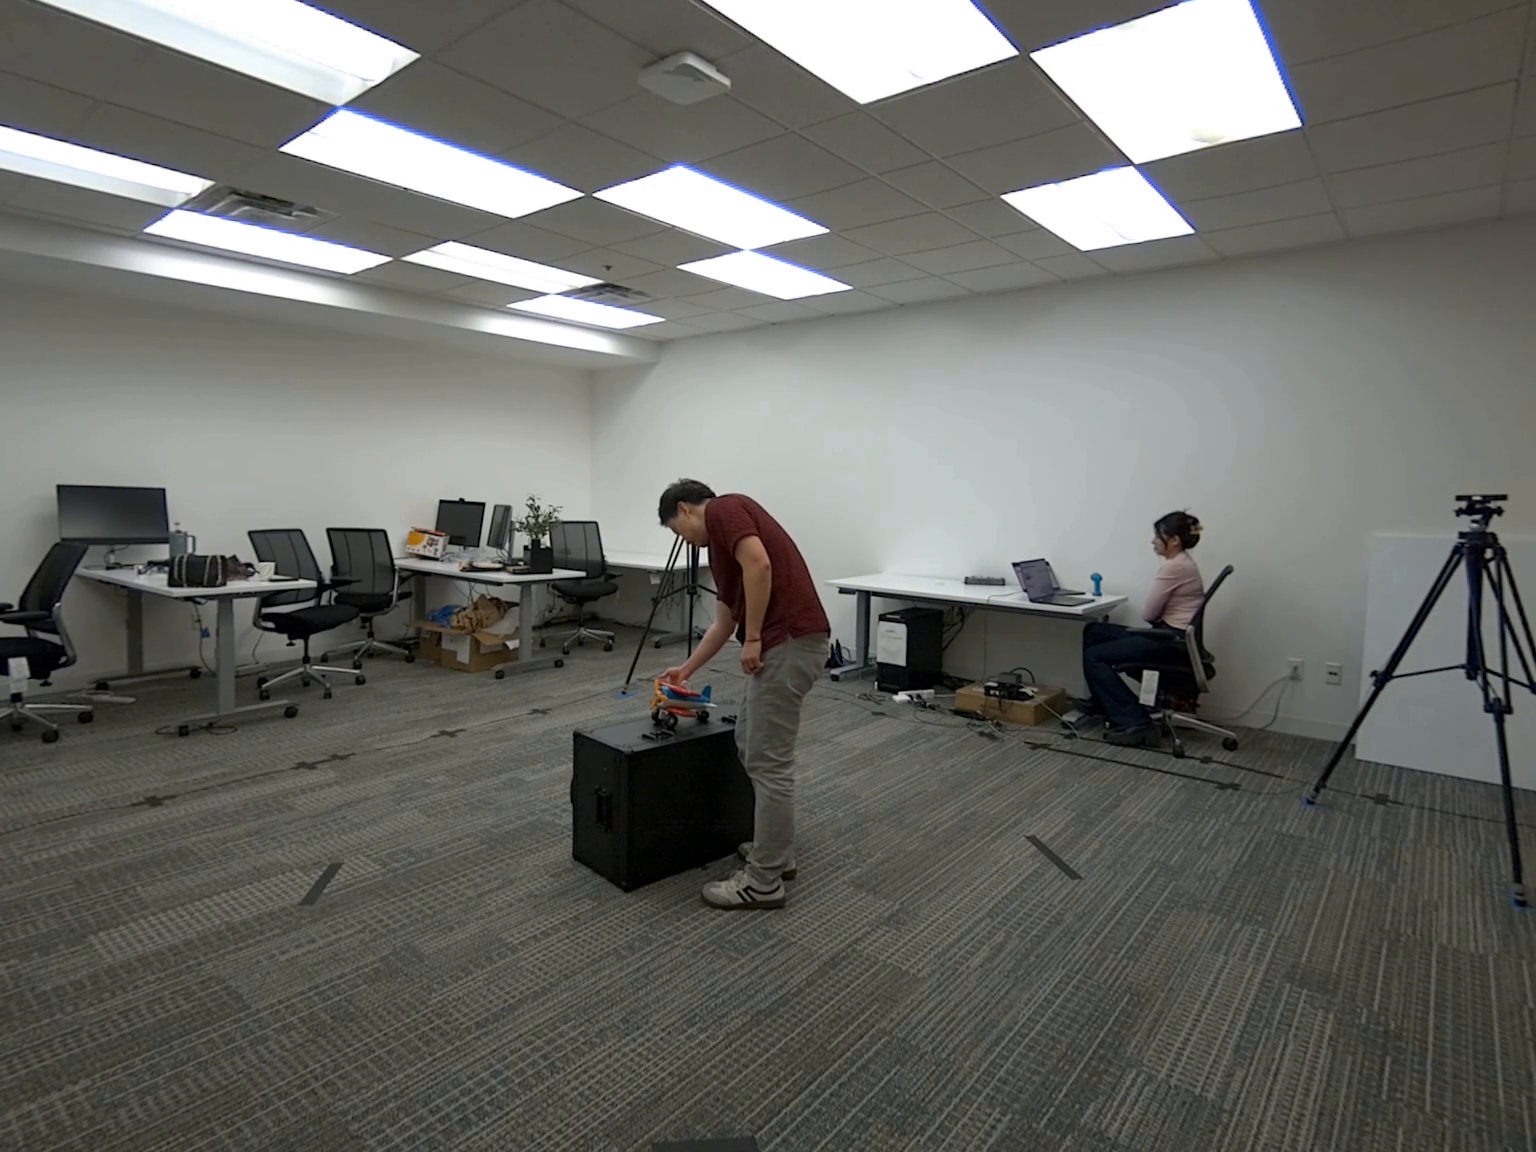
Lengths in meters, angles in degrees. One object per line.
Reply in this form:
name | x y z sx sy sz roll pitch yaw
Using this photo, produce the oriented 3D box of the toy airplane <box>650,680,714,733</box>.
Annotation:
toy airplane | -0.353 0.485 3.306 0.258 0.156 0.253 2 6 26
